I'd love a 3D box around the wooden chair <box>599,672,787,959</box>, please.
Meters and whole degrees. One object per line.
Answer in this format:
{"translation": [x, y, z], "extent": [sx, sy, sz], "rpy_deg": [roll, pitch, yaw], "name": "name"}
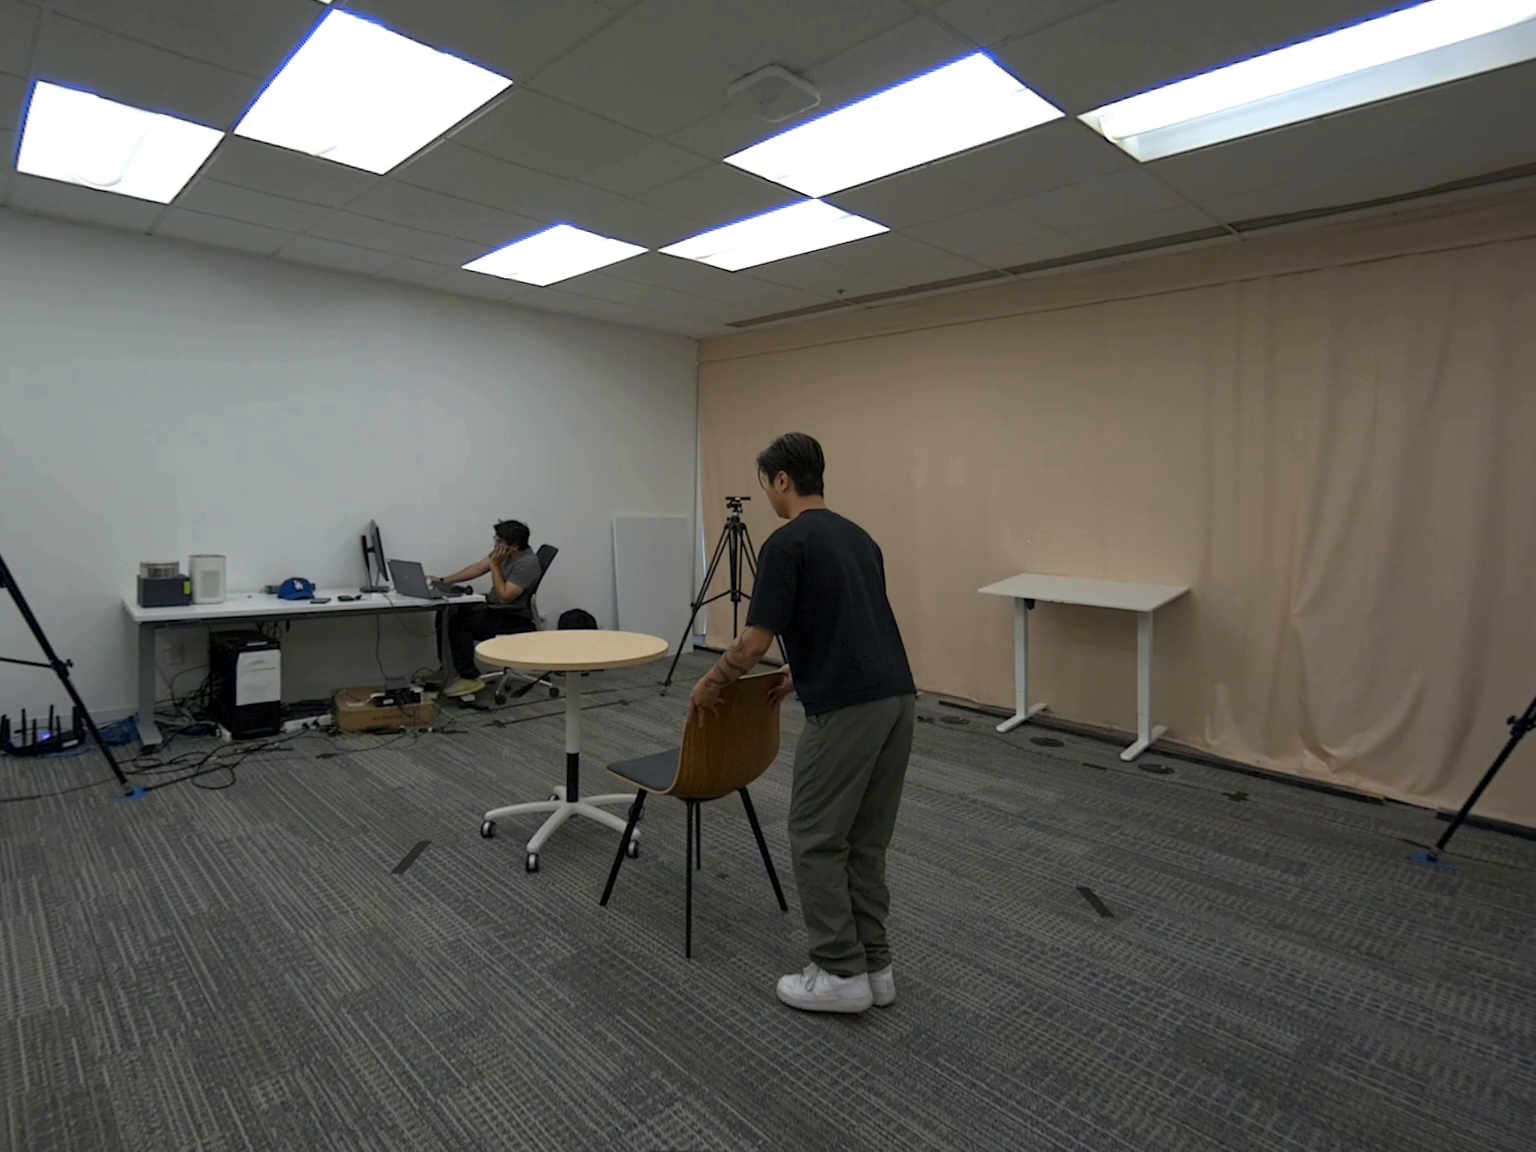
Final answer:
{"translation": [-0.253, 0.702, 2.827], "extent": [0.537, 0.873, 0.467], "rpy_deg": [11, 9, 44], "name": "wooden chair"}
